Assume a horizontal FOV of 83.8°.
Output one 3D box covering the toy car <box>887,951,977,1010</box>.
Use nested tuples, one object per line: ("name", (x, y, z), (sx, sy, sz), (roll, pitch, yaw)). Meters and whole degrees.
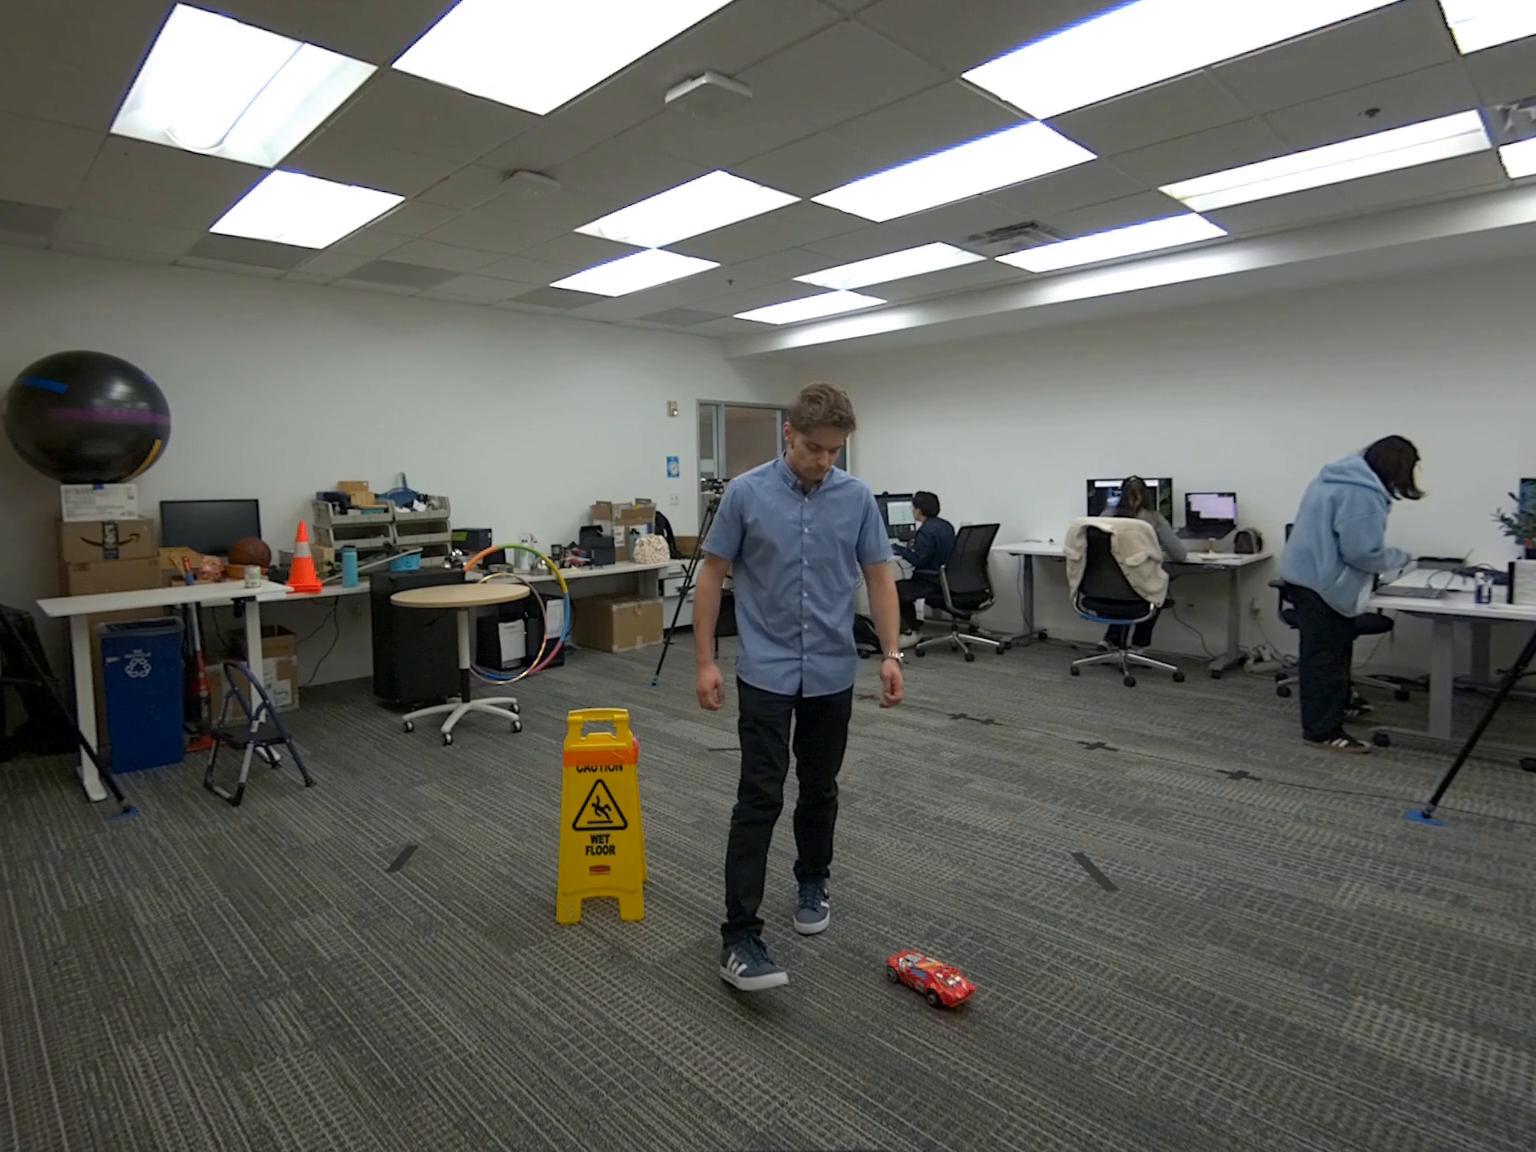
("toy car", (0.452, 1.097, 2.314), (0.127, 0.083, 0.260), (-6, -3, -37))
